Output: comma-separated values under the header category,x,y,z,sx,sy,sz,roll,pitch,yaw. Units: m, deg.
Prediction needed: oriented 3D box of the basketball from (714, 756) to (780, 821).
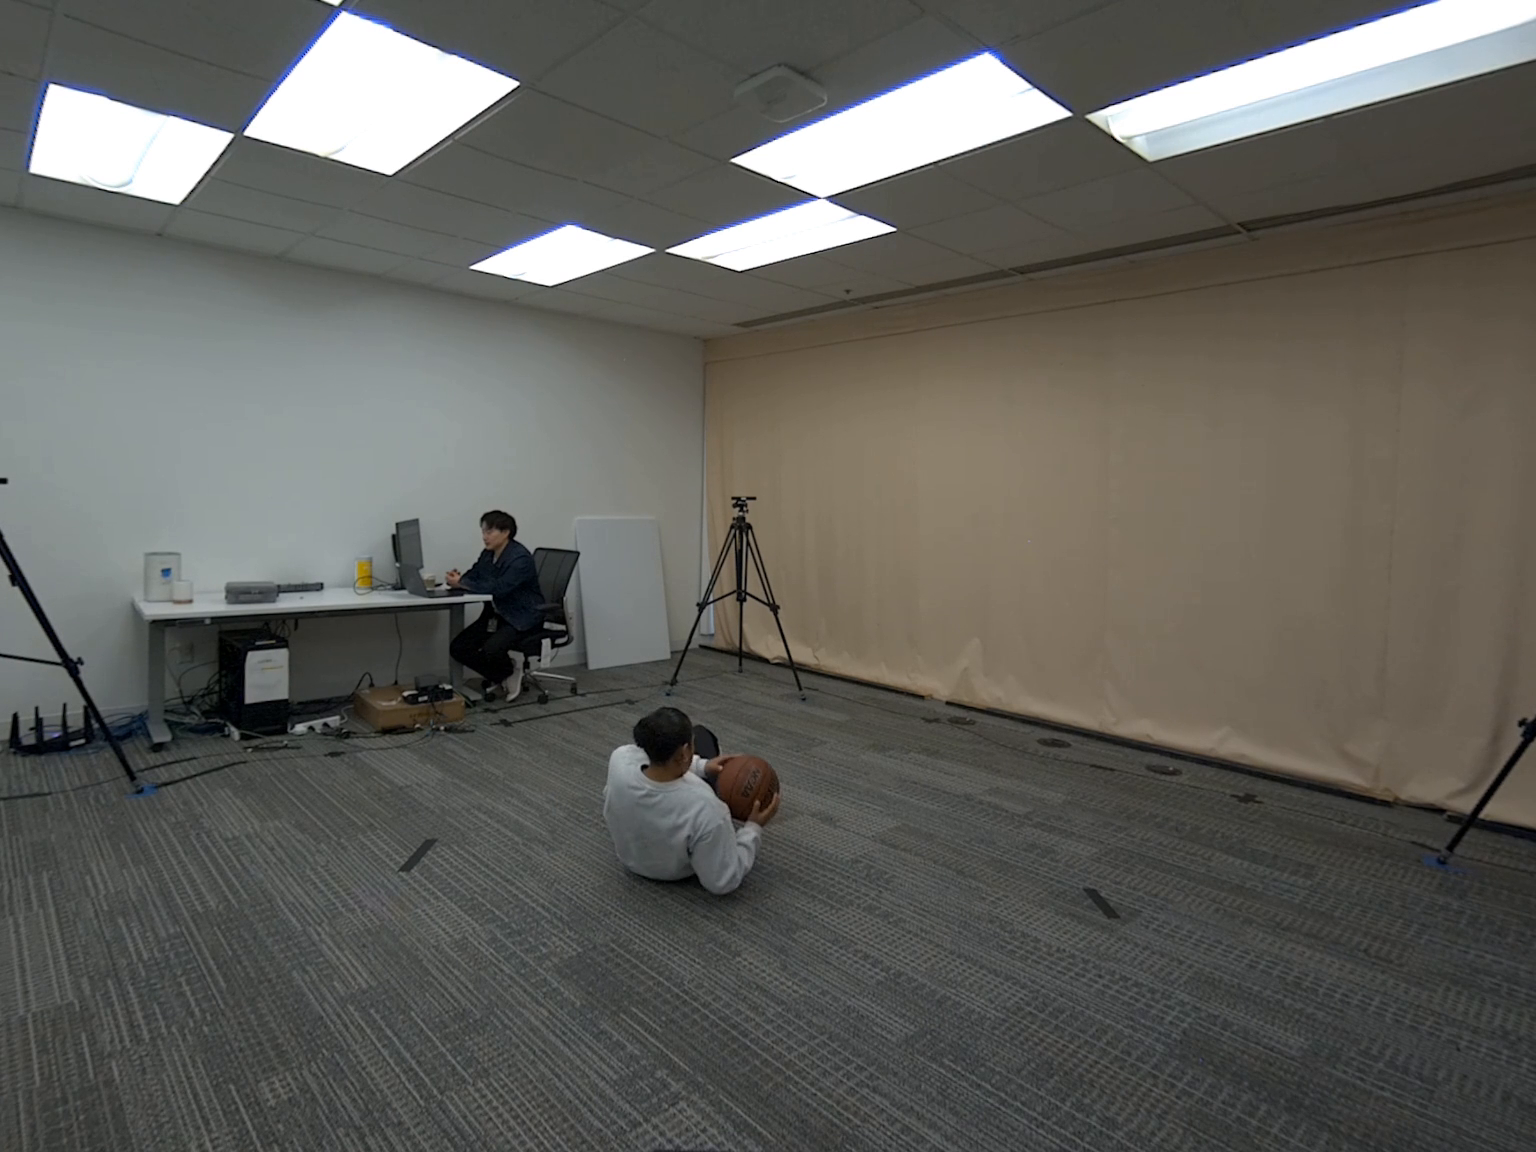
category,x,y,z,sx,sy,sz,roll,pitch,yaw
basketball,-0.100,0.793,3.135,0.236,0.235,0.237,1,4,-1
